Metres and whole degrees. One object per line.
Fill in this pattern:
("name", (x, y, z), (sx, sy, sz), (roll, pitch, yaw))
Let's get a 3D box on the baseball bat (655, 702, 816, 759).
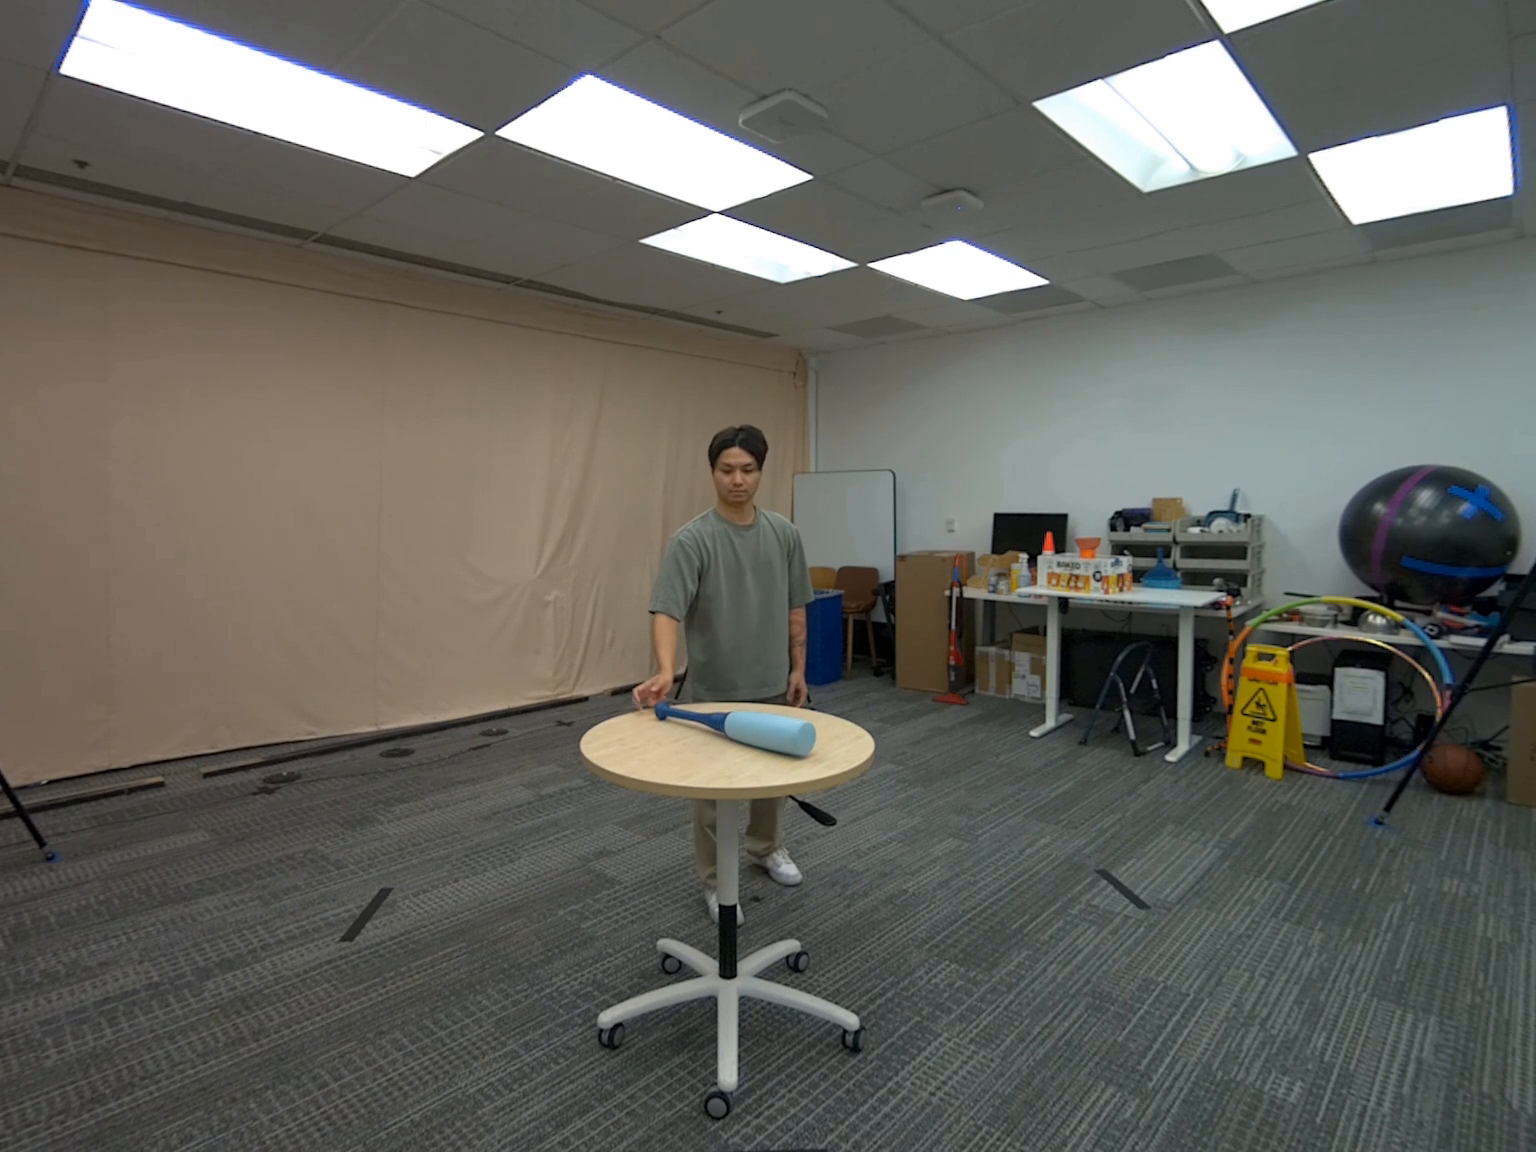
("baseball bat", (-0.106, 0.387, 2.219), (0.561, 0.089, 0.086), (2, 4, 44))
